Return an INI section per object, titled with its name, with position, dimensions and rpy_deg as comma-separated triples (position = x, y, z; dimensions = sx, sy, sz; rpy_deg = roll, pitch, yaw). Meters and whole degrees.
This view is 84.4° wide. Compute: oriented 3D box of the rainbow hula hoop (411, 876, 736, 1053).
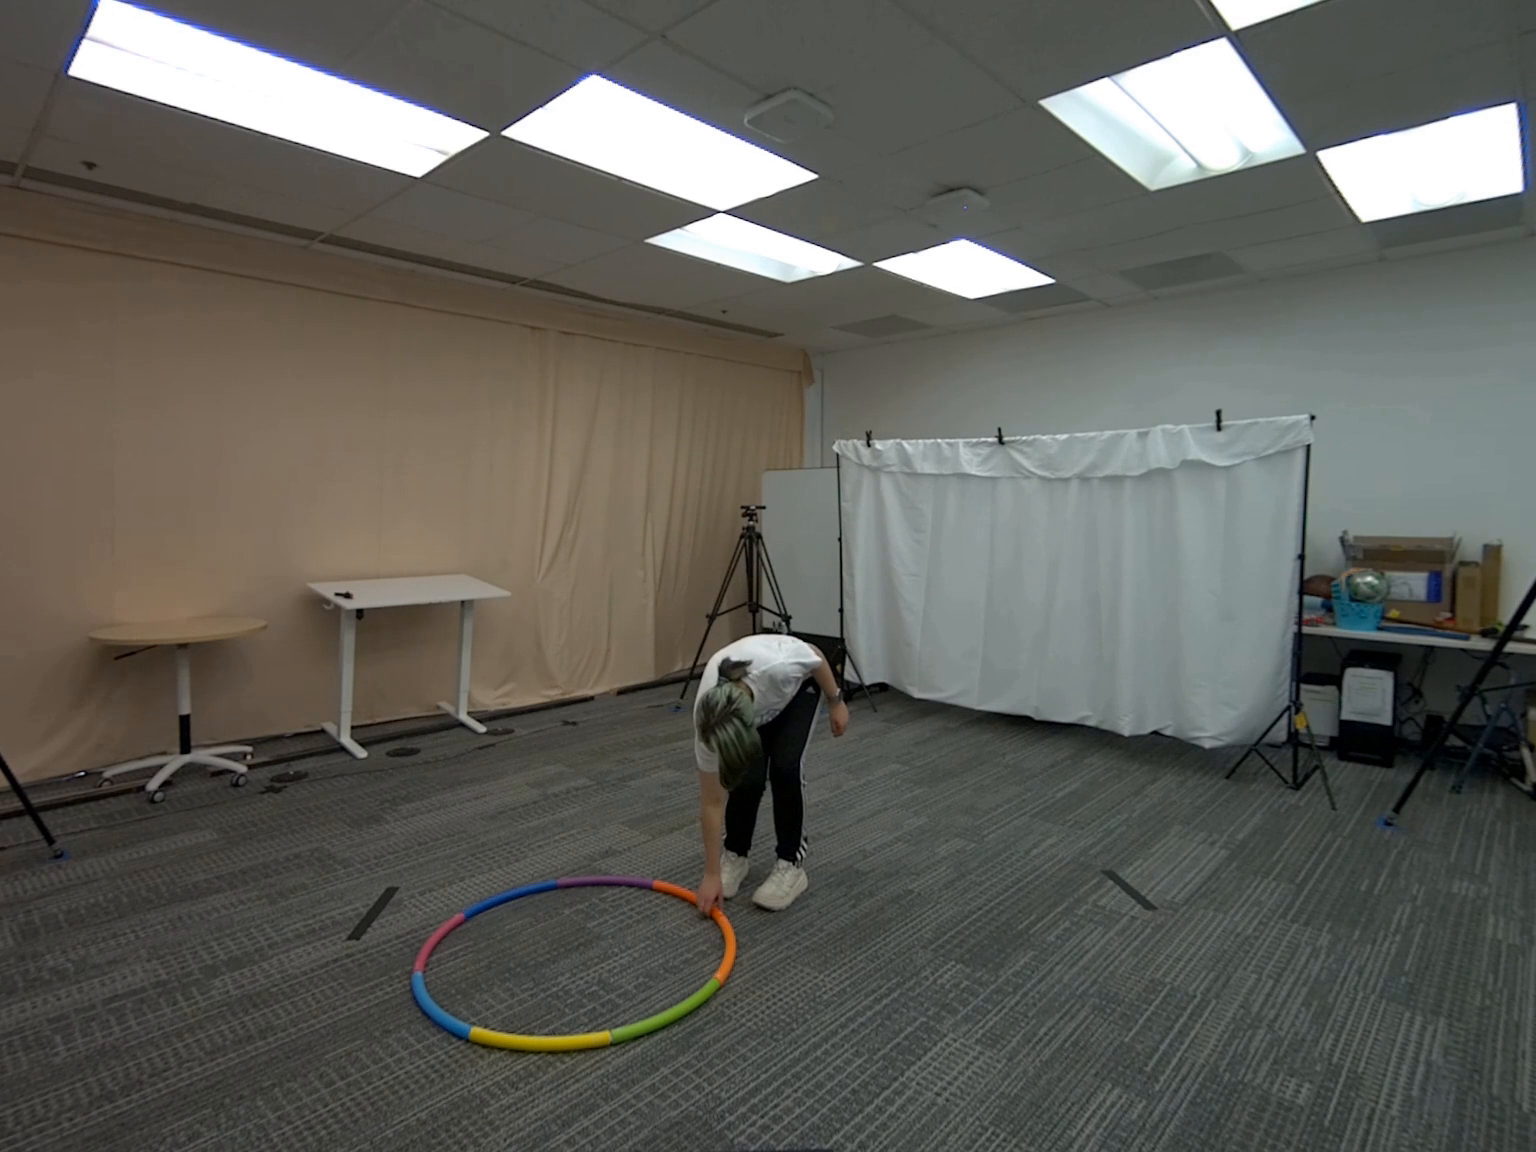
[rainbow hula hoop]
position = -0.589, 1.147, 2.631
dimensions = 0.978, 0.035, 0.982
rpy_deg = 0, 4, -2
